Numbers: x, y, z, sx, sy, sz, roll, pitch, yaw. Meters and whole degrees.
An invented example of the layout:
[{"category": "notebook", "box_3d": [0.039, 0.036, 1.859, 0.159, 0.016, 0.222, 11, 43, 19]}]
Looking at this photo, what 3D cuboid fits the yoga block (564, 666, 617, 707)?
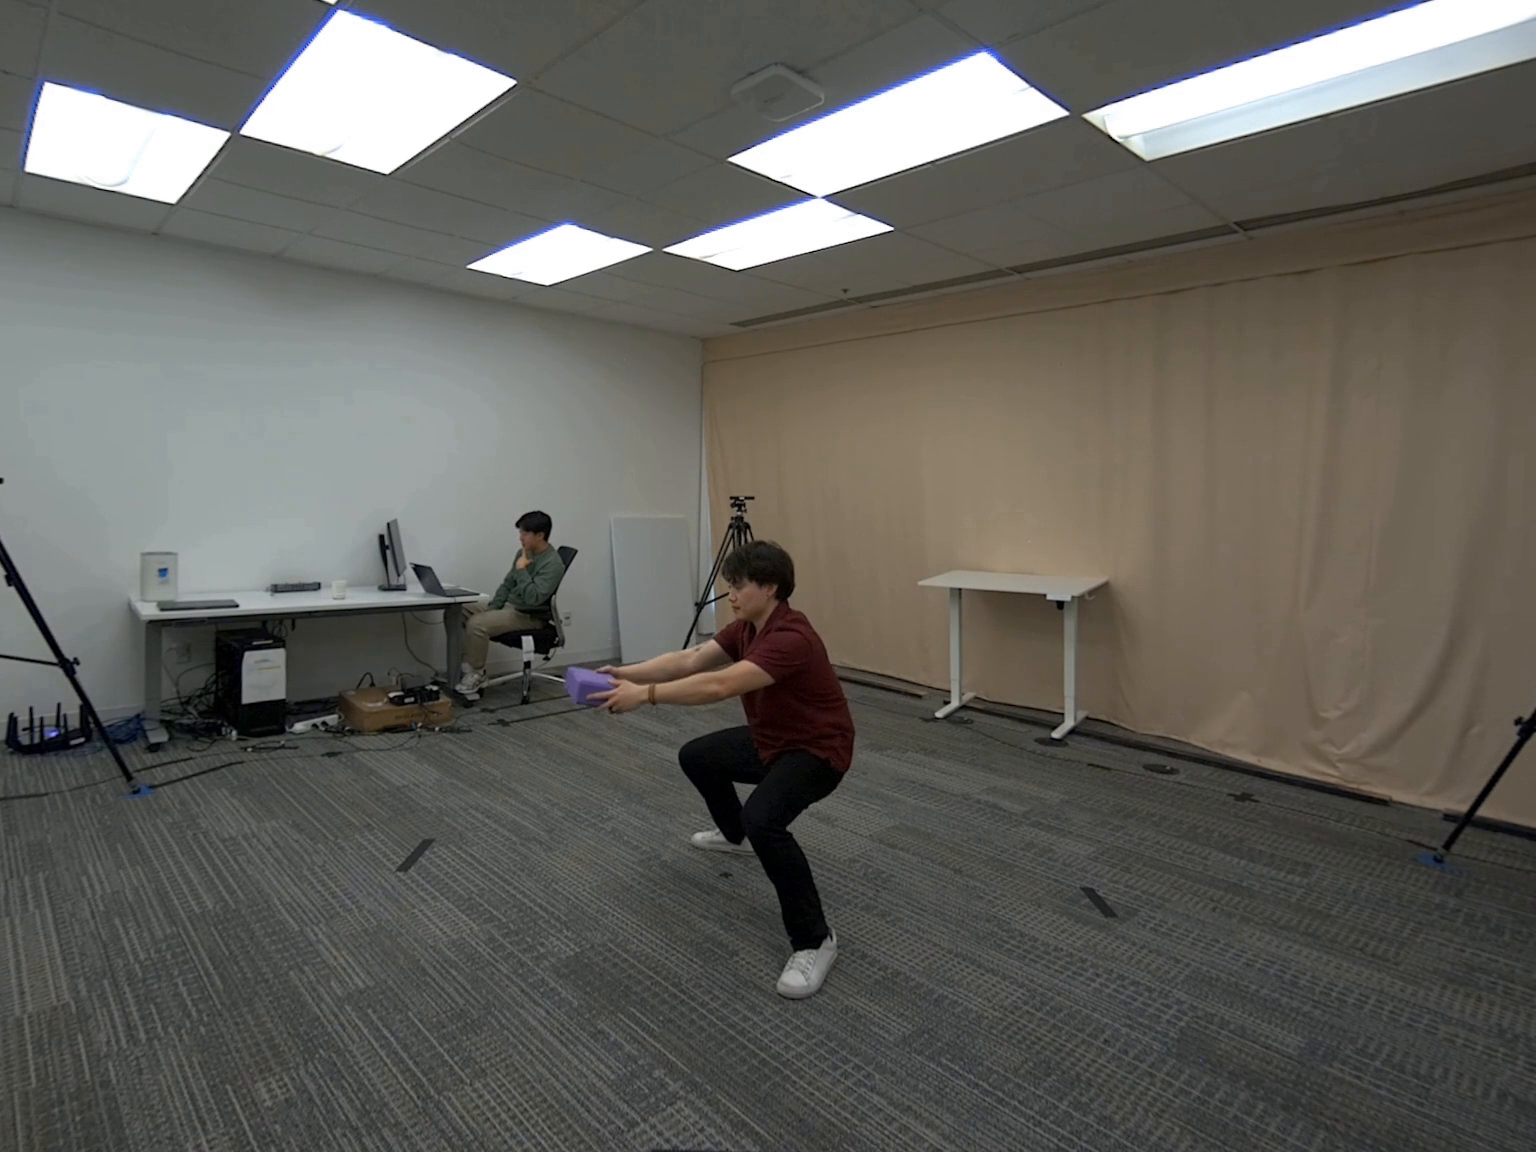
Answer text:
[{"category": "yoga block", "box_3d": [-0.555, 0.351, 2.684, 0.146, 0.076, 0.233, 12, 0, -21]}]
